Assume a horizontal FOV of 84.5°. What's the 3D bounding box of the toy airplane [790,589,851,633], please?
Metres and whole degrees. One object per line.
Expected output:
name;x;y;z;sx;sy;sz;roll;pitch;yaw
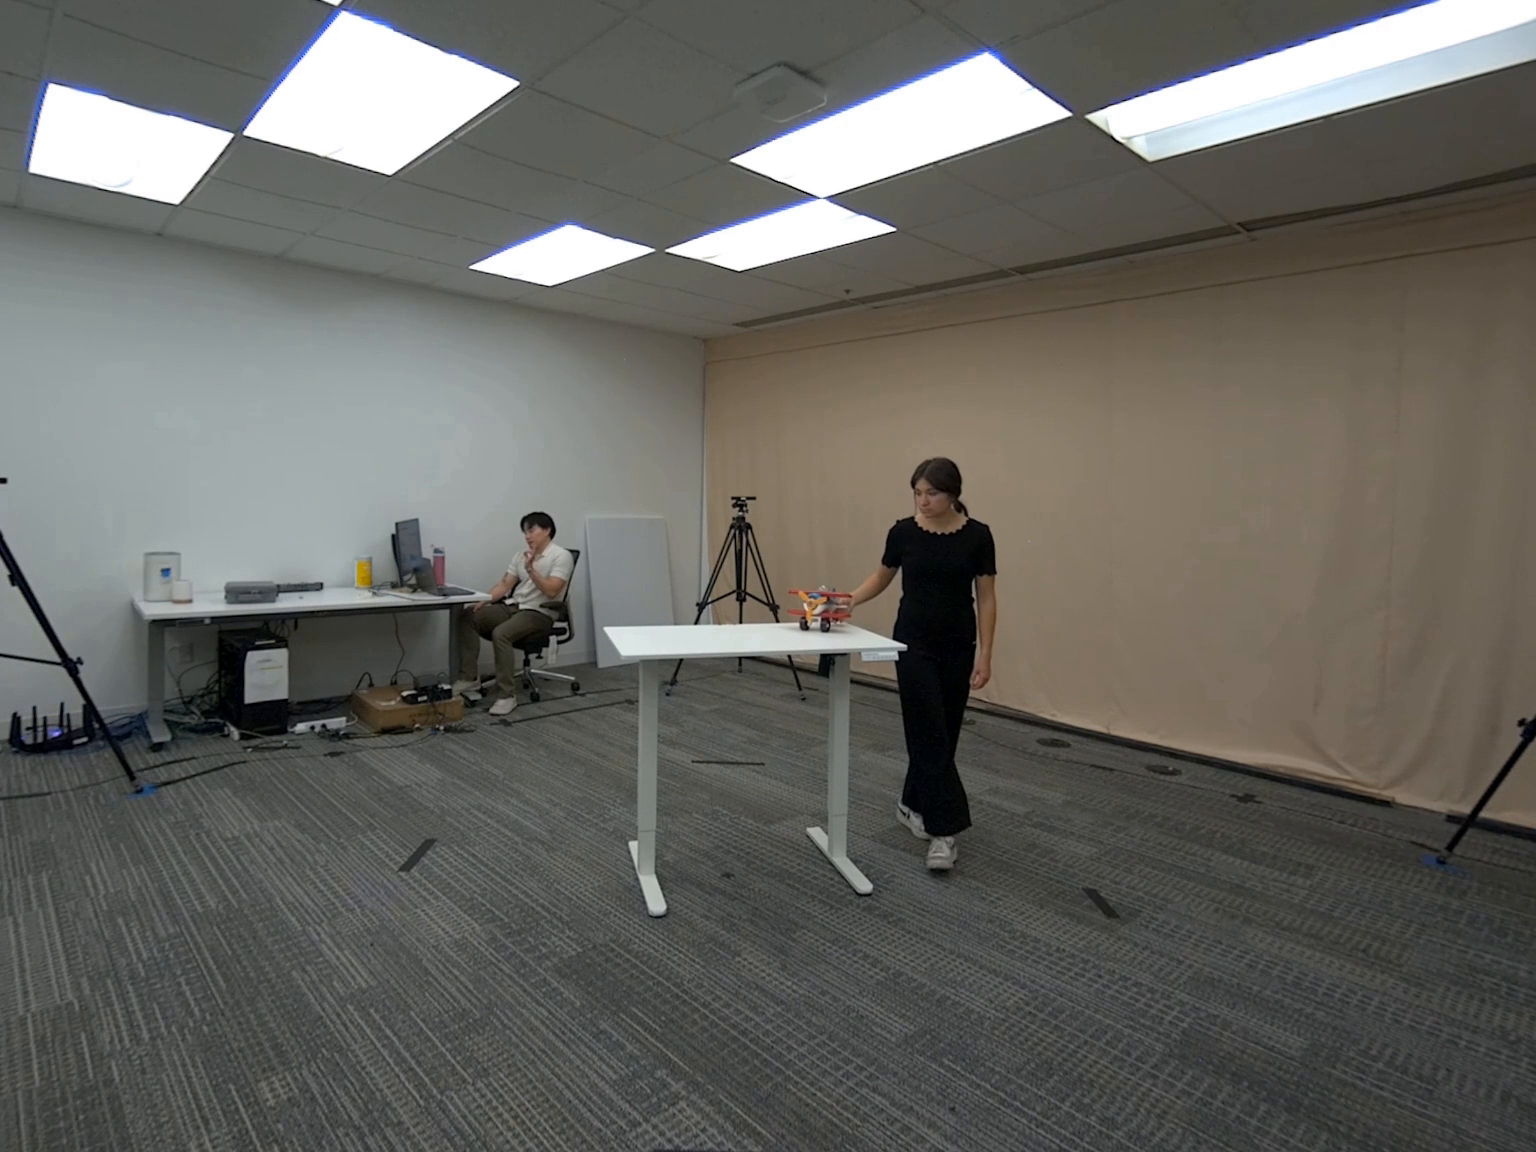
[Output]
toy airplane;0.191;0.122;3.331;0.251;0.155;0.262;-2;12;-2
